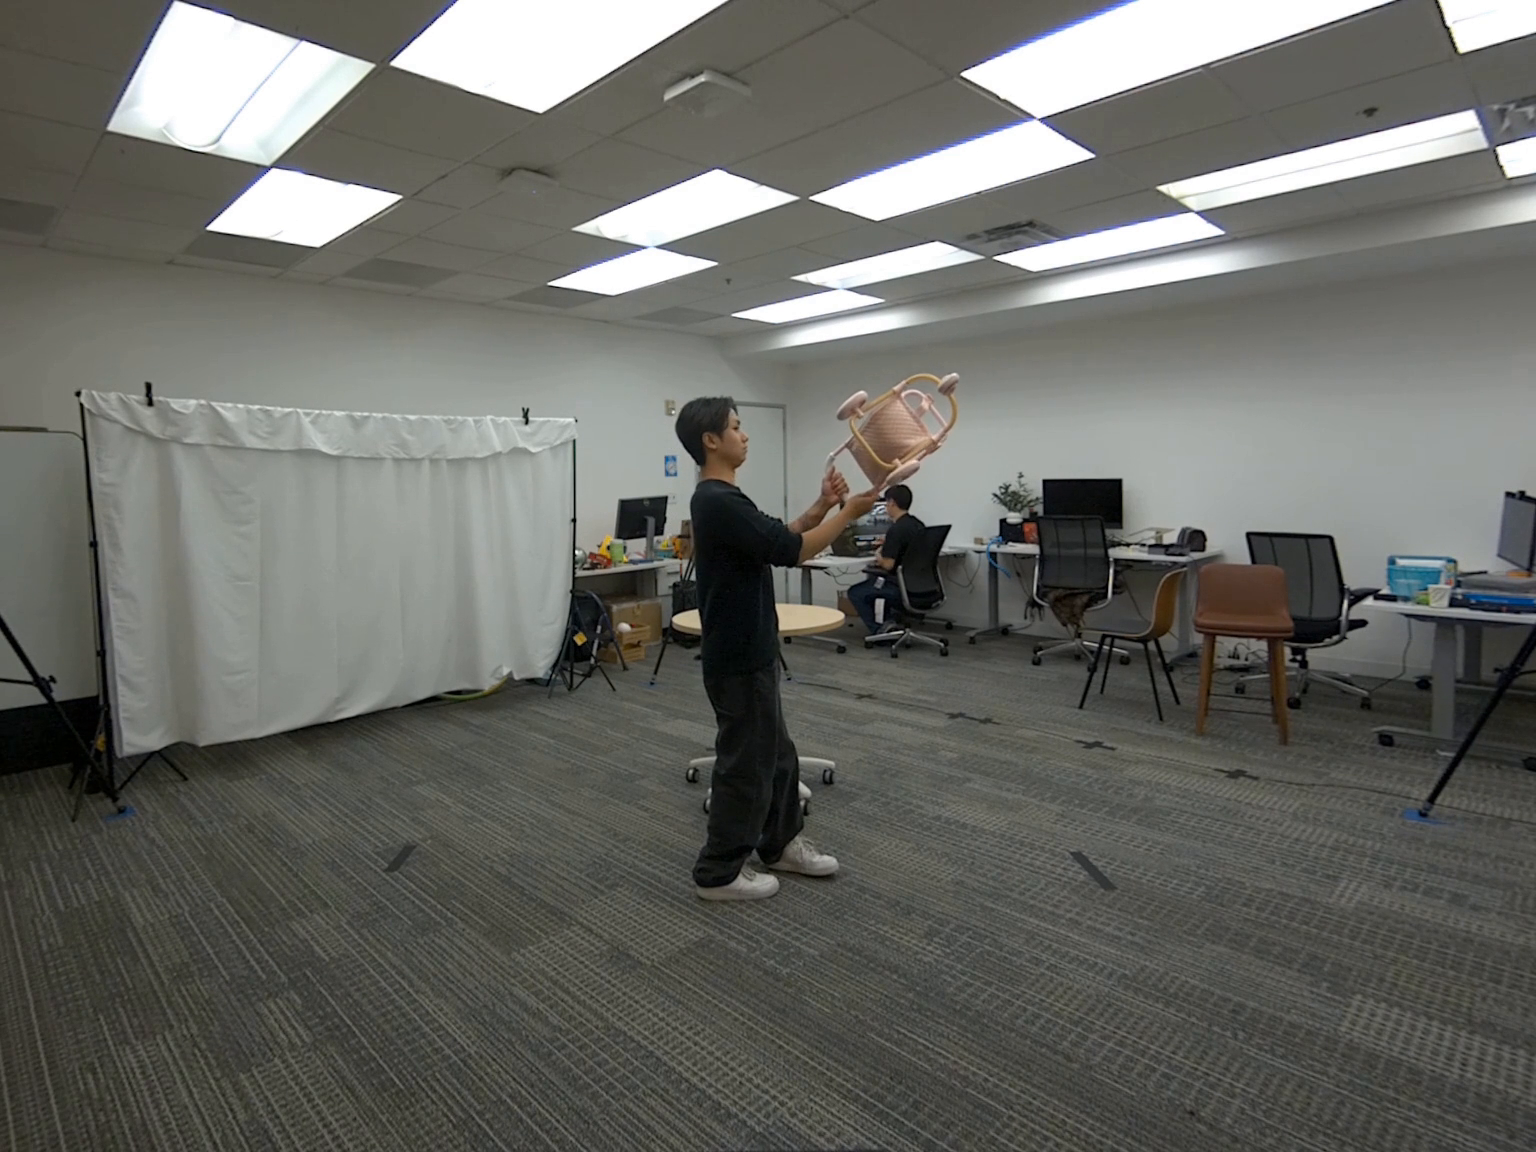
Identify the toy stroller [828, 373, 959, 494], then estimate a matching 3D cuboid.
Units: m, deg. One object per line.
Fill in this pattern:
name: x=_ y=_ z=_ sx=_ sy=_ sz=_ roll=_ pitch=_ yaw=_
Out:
toy stroller: x=0.395 y=-0.430 z=2.629 sx=0.340 sy=0.285 sz=0.530 roll=-39 pitch=-7 yaw=-10
